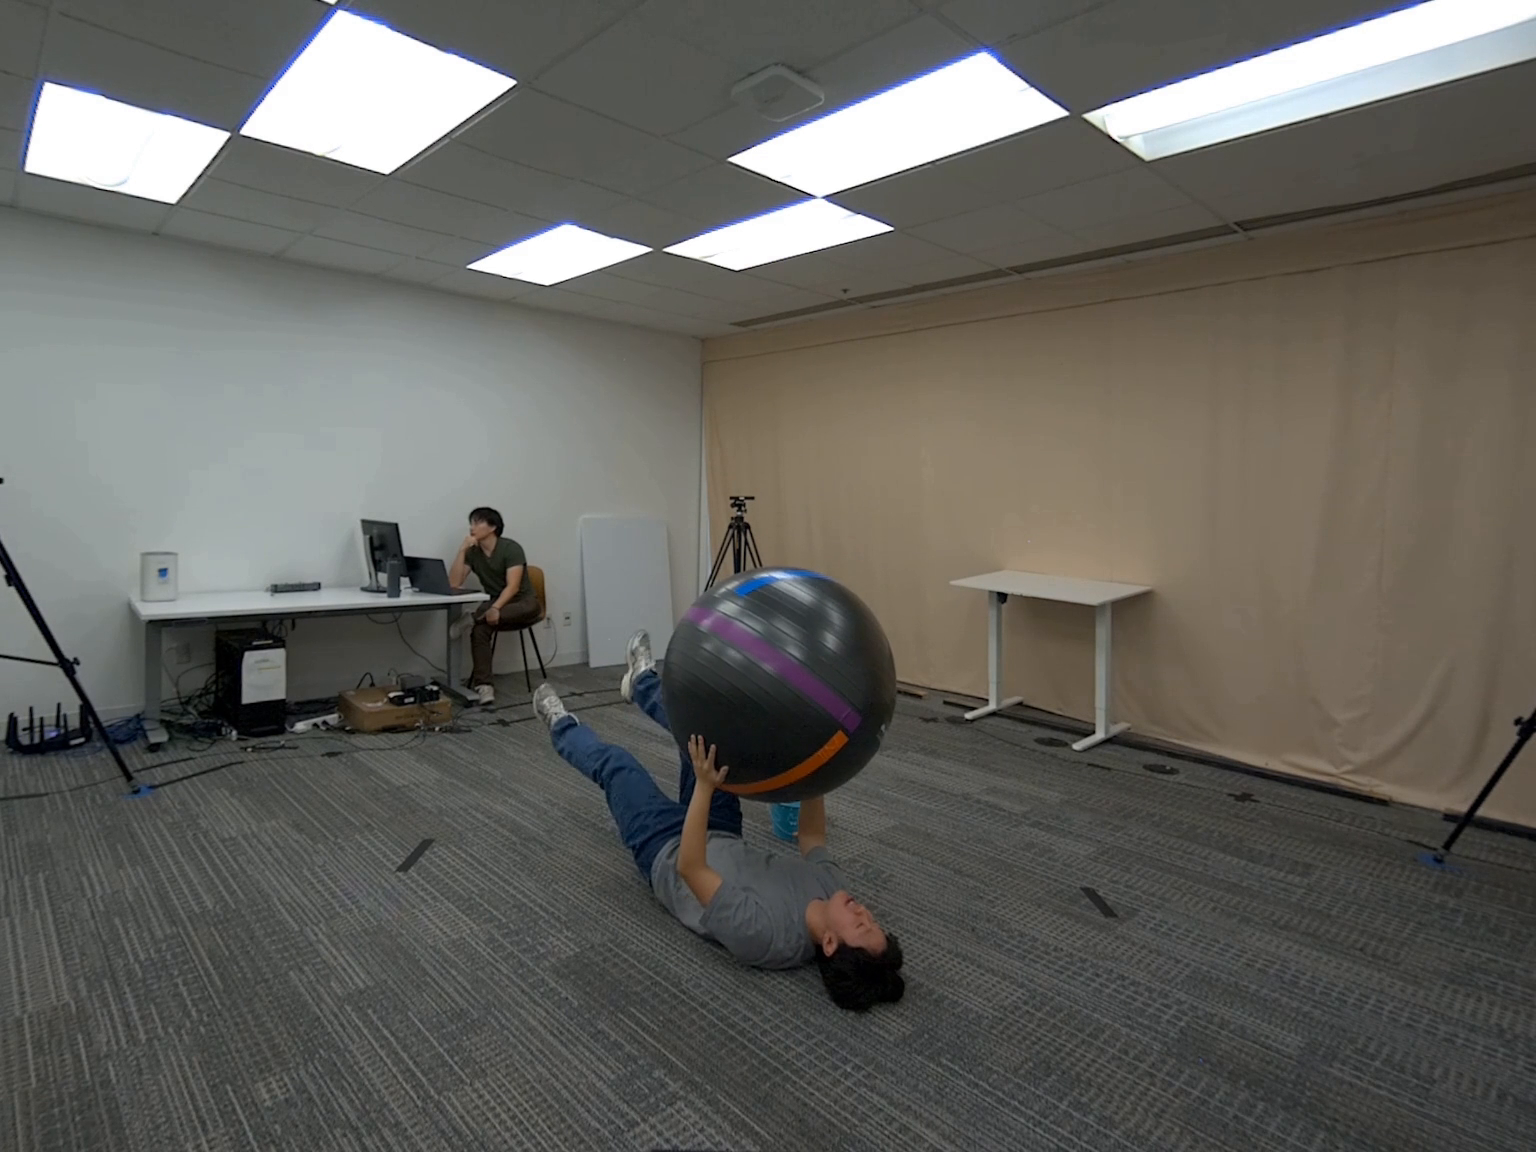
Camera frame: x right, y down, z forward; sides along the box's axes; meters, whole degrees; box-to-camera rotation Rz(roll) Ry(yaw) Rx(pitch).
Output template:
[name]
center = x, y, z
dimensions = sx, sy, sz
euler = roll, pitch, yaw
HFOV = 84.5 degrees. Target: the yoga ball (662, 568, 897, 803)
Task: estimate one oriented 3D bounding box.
[yoga ball]
center = 0.029, 0.356, 2.742
dimensions = 0.757, 0.756, 0.761
euler = 1, 4, -1
